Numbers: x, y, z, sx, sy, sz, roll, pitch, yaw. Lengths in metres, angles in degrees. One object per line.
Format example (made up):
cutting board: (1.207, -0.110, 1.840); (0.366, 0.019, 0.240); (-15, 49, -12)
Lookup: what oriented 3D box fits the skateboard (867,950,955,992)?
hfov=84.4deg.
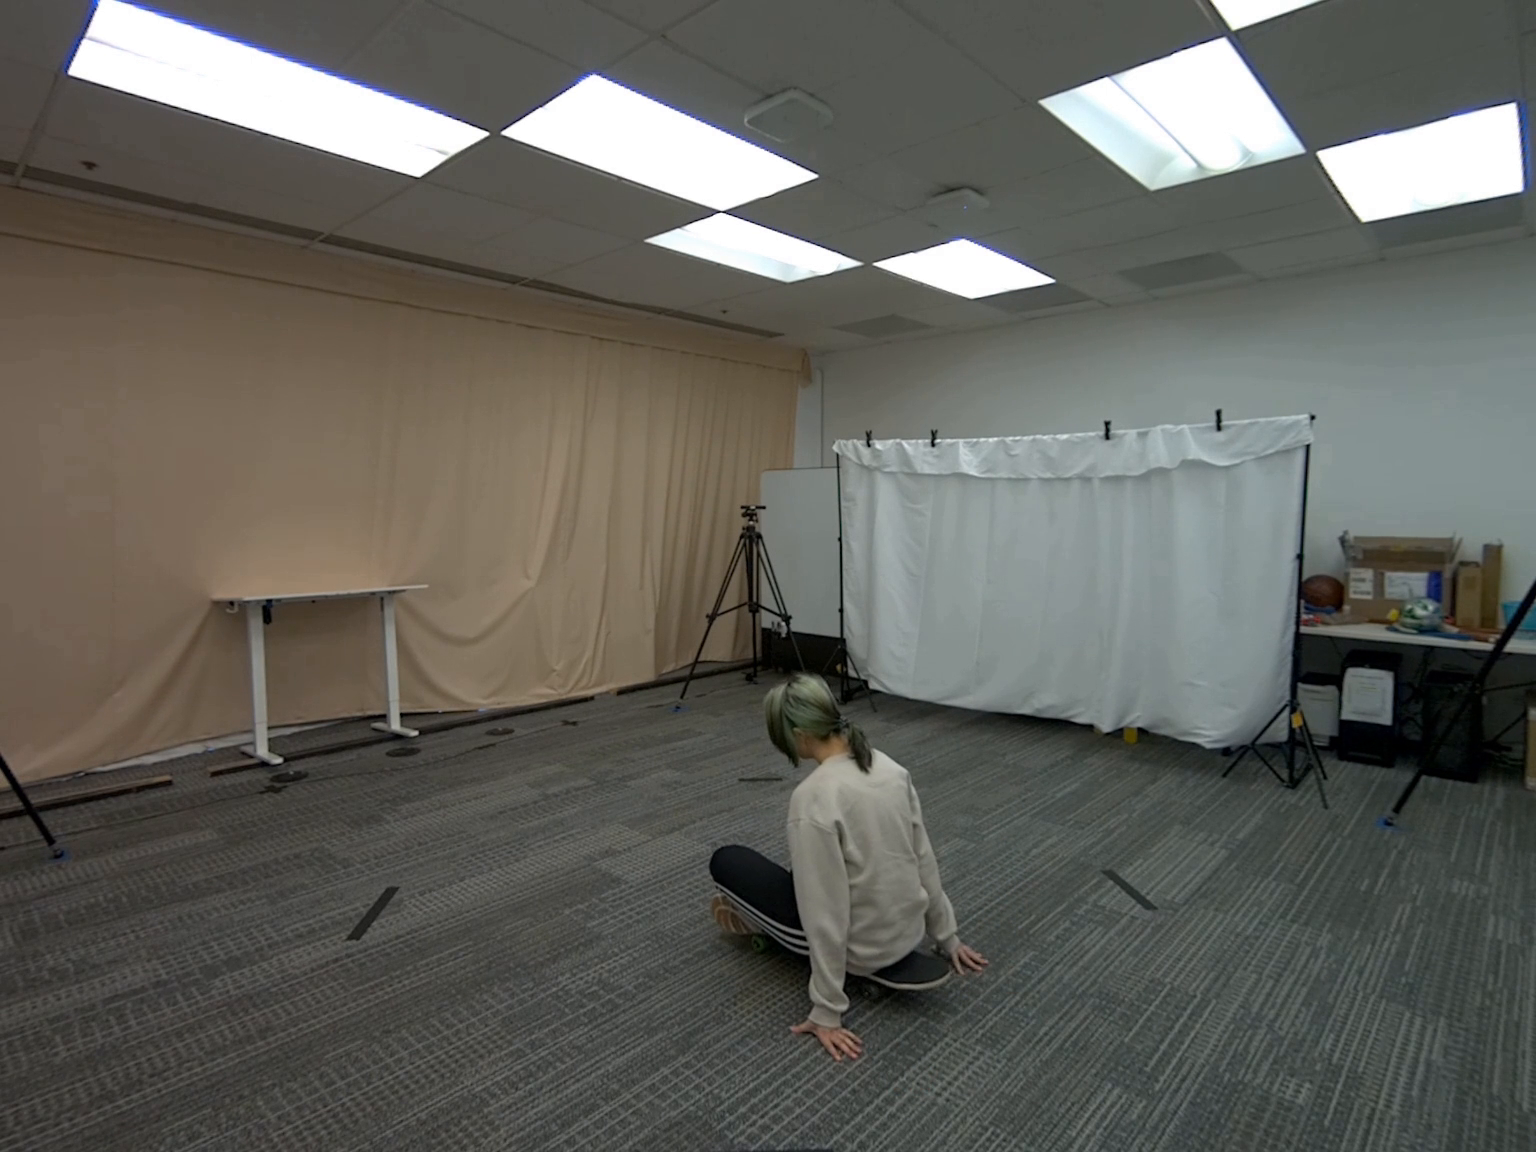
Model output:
skateboard: (0.184, 1.128, 2.561); (0.811, 0.110, 0.188); (4, 11, 40)
